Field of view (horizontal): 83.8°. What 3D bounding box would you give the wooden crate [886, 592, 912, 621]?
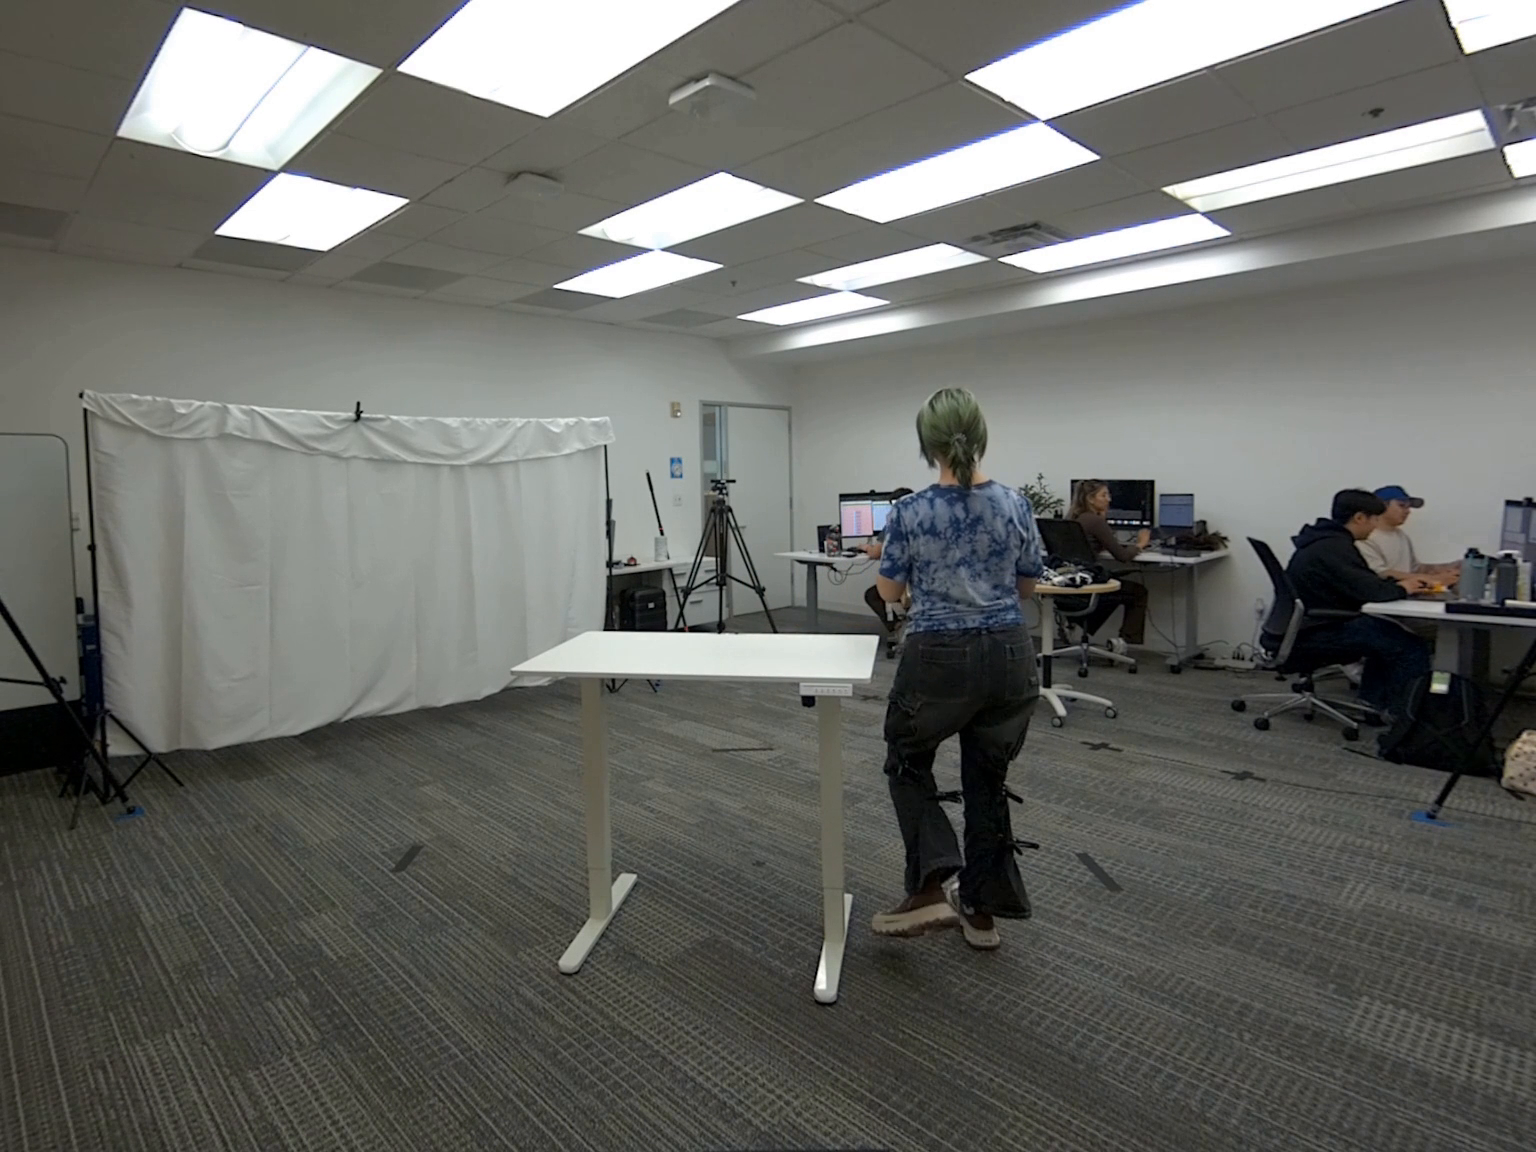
[{"bbox_3d":[0.594,-0.075,2.818,0.325,0.267,0.308,-3,26,2],"label":"wooden crate"}]
